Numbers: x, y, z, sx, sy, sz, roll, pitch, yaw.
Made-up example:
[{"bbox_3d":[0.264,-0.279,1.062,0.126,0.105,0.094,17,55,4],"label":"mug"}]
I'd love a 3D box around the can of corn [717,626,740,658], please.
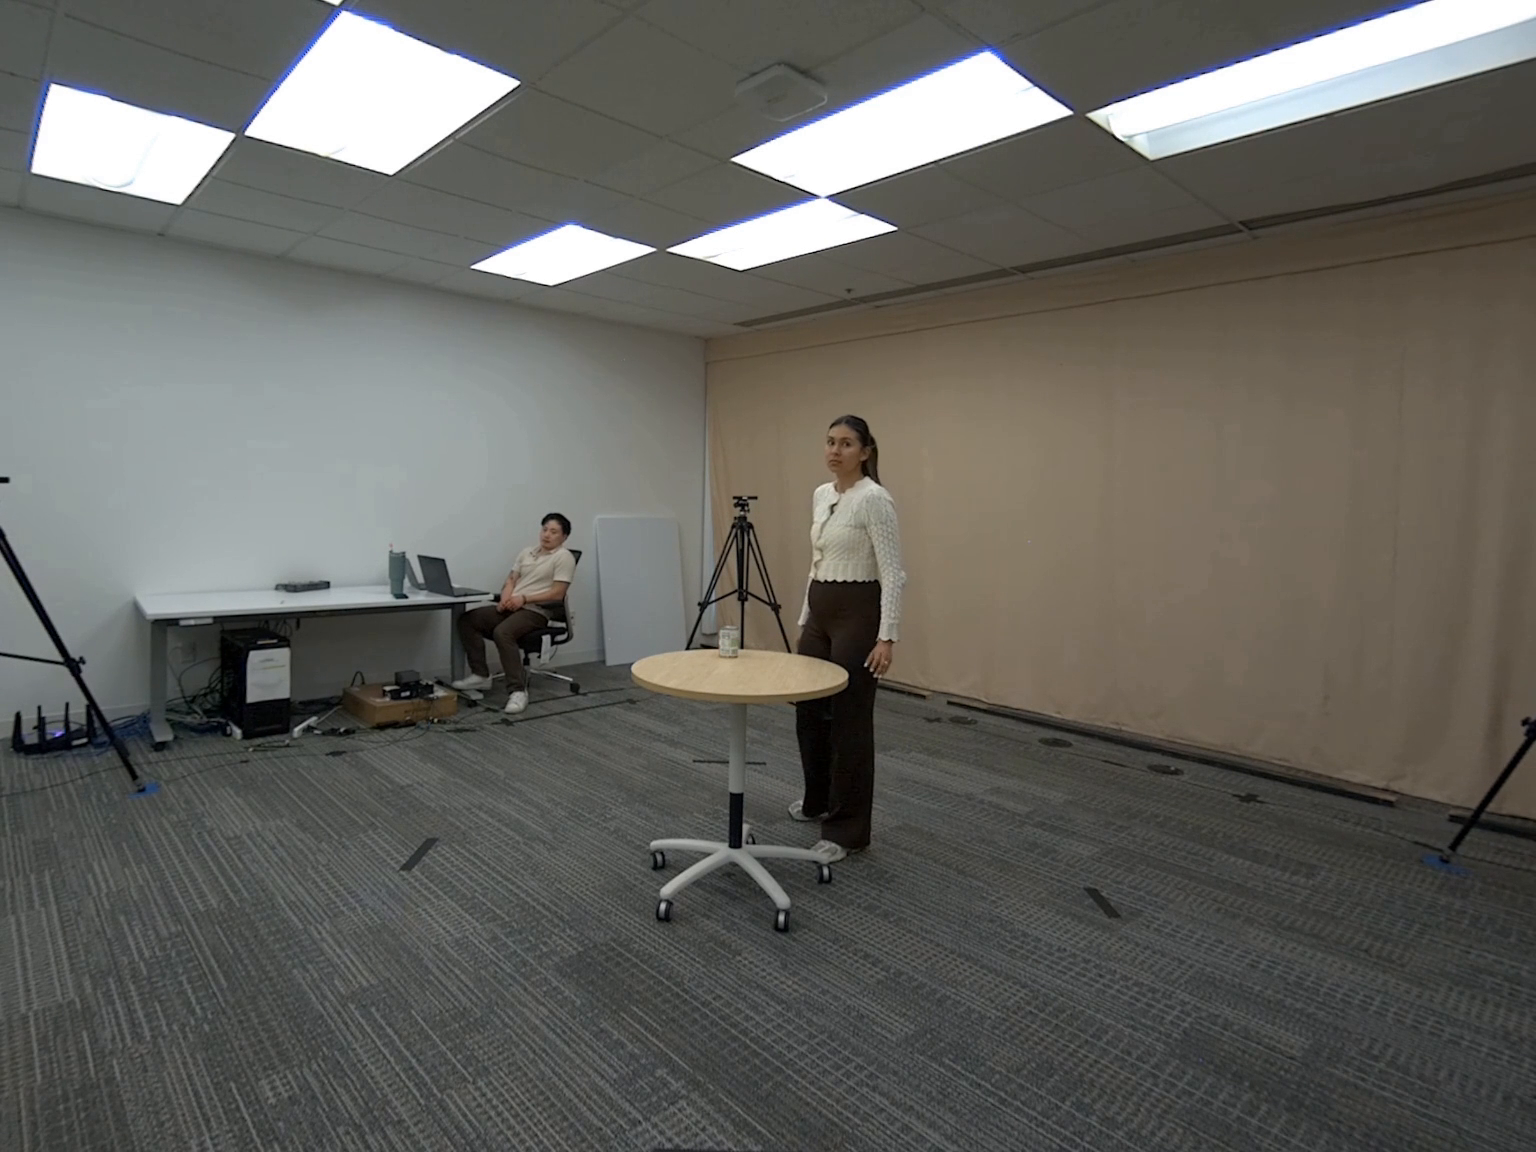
[{"bbox_3d":[-0.154,0.248,3.204,0.074,0.111,0.074,0,4,-1],"label":"can of corn"}]
